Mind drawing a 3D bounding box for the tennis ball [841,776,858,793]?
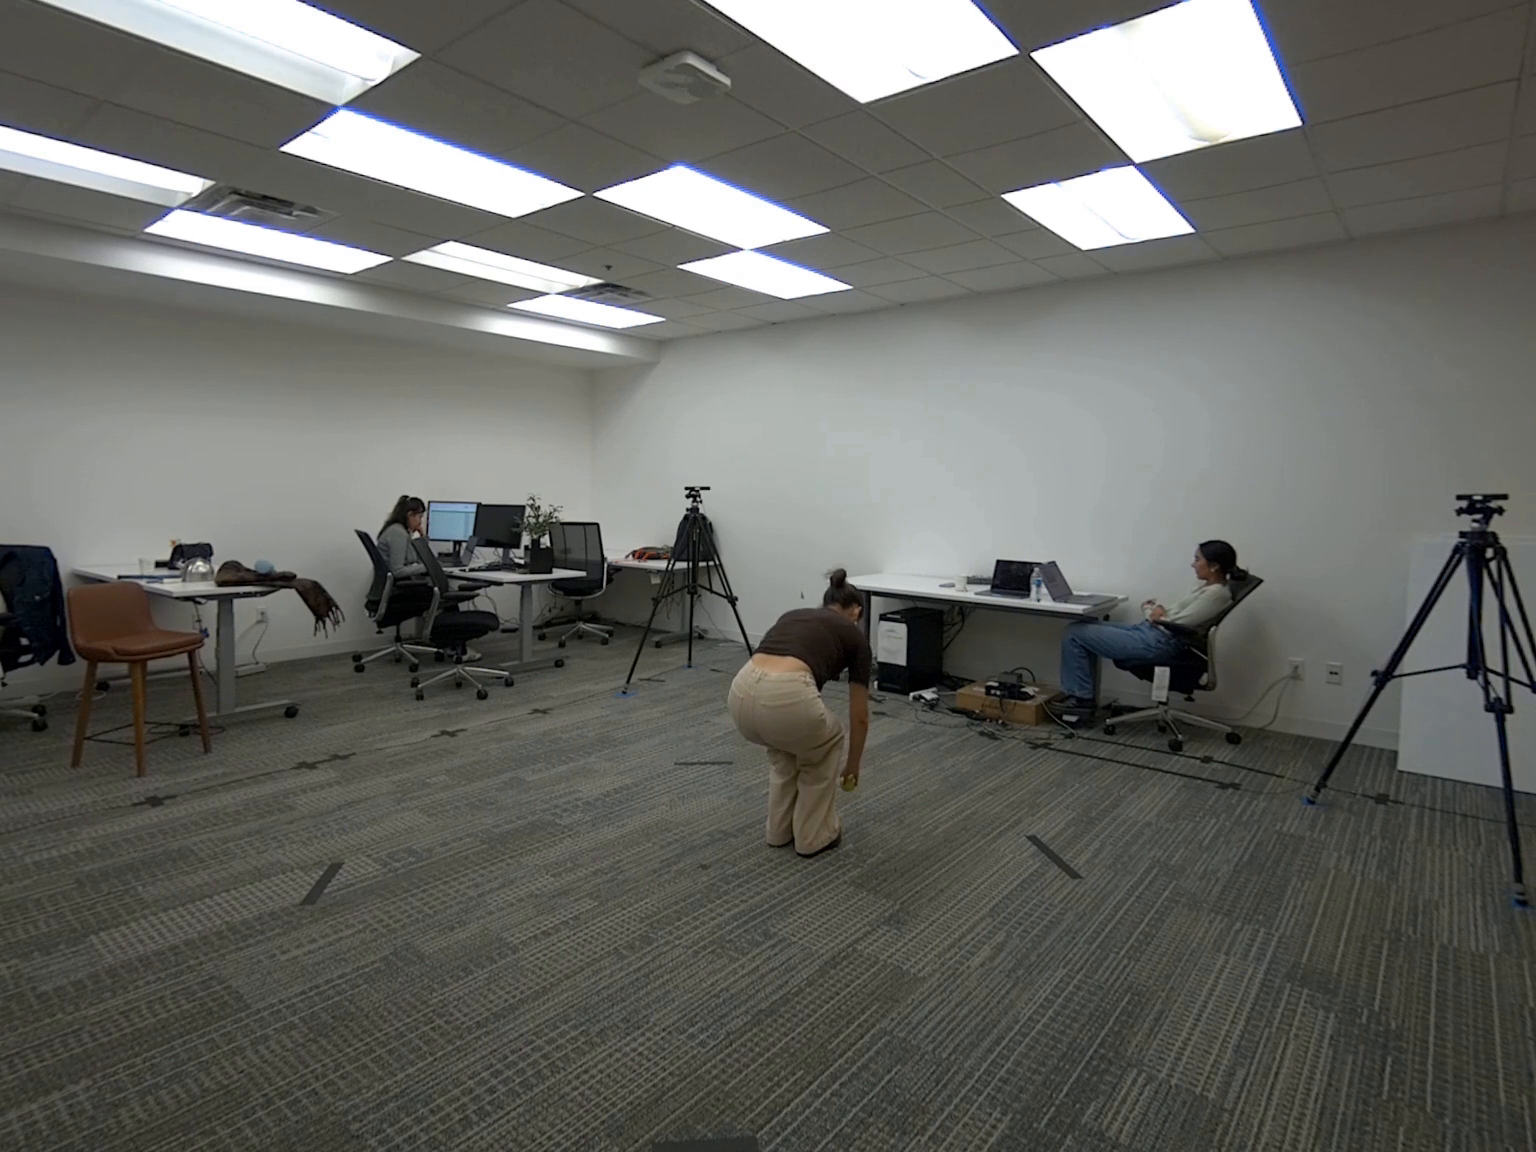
[{"bbox_3d":[0.304,0.860,3.480,0.066,0.066,0.067,1,4,-2],"label":"tennis ball"}]
